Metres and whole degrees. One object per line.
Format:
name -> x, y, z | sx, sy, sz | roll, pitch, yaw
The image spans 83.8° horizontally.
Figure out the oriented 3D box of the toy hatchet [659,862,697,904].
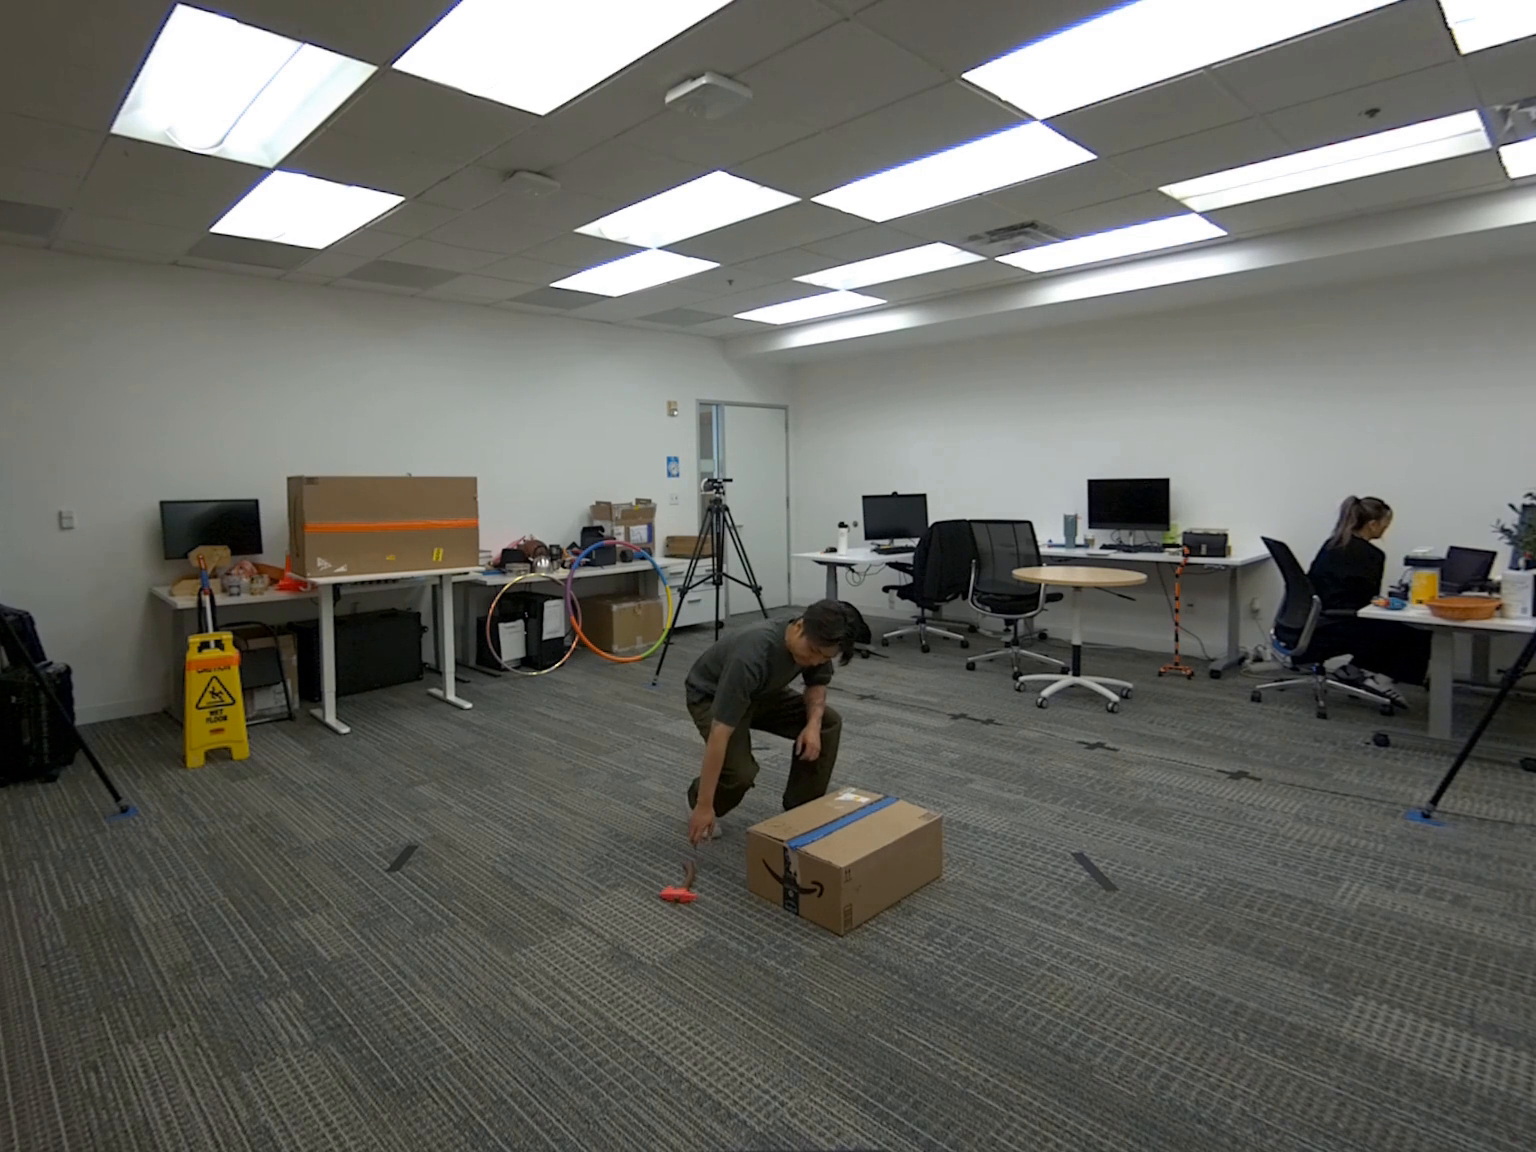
toy hatchet -> -0.312, 1.059, 2.951 | 0.130, 0.029, 0.273 | -6, 6, -8
